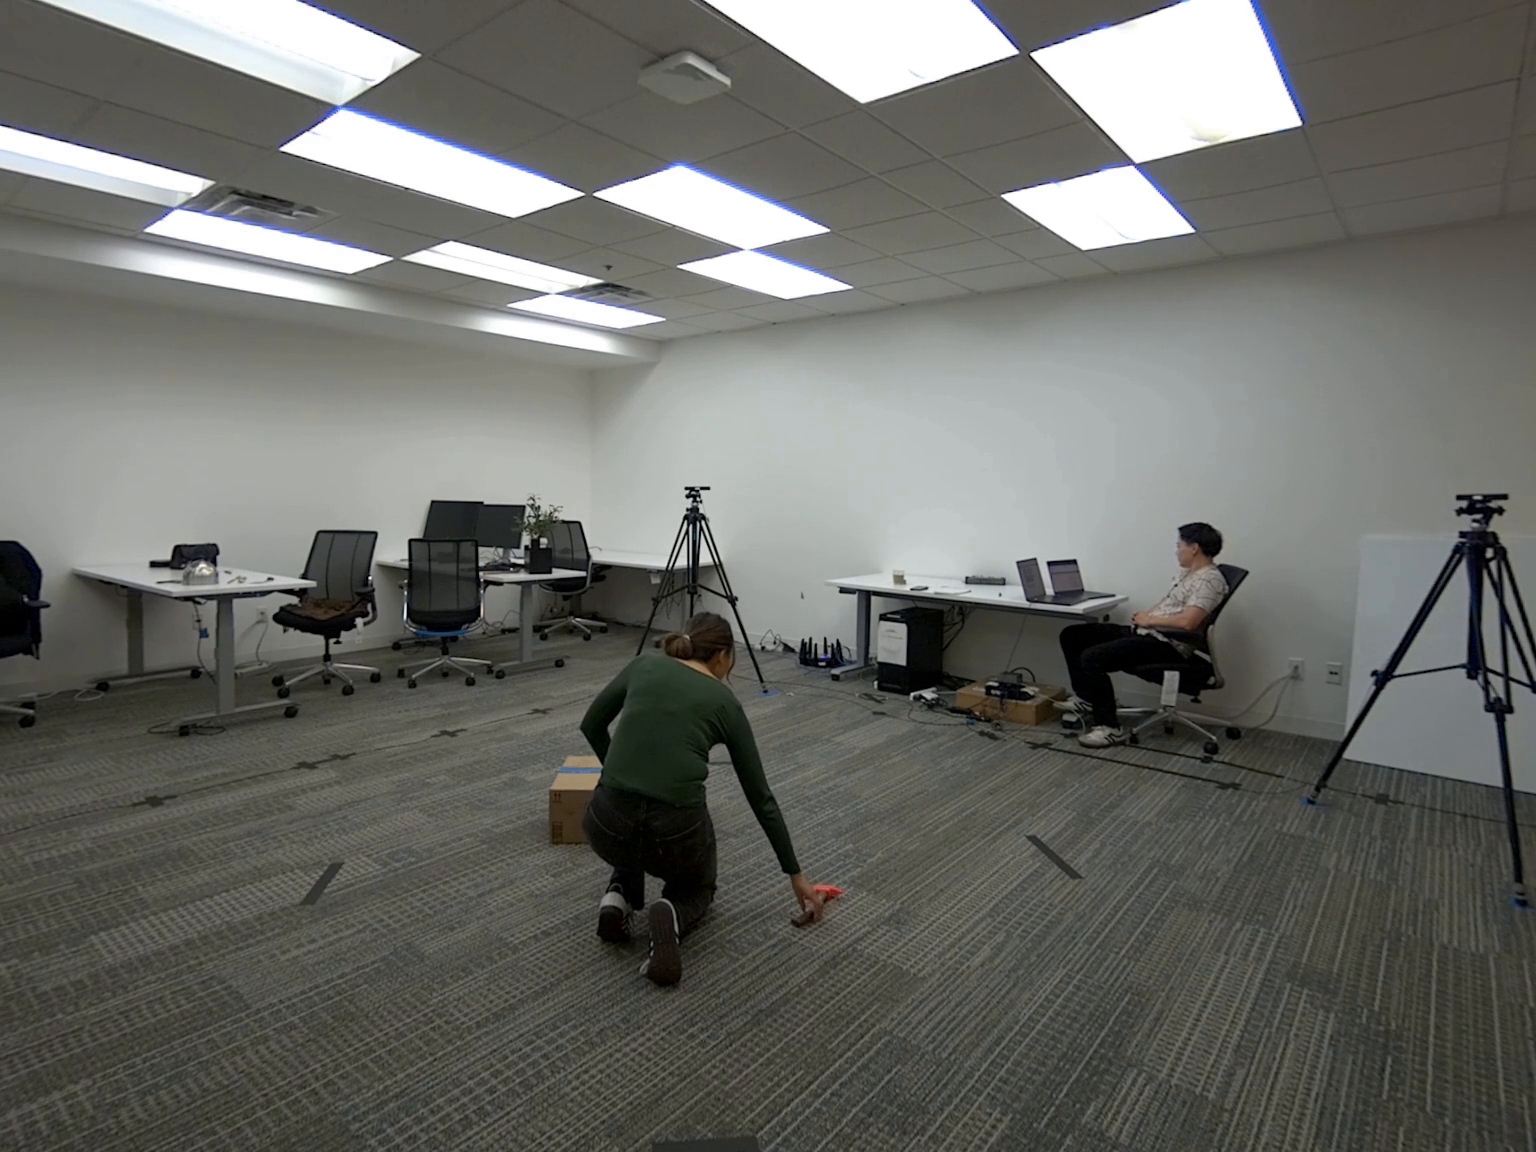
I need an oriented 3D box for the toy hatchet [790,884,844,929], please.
[{"bbox_3d":[0.124,1.088,2.828,0.135,0.029,0.263,4,9,38],"label":"toy hatchet"}]
